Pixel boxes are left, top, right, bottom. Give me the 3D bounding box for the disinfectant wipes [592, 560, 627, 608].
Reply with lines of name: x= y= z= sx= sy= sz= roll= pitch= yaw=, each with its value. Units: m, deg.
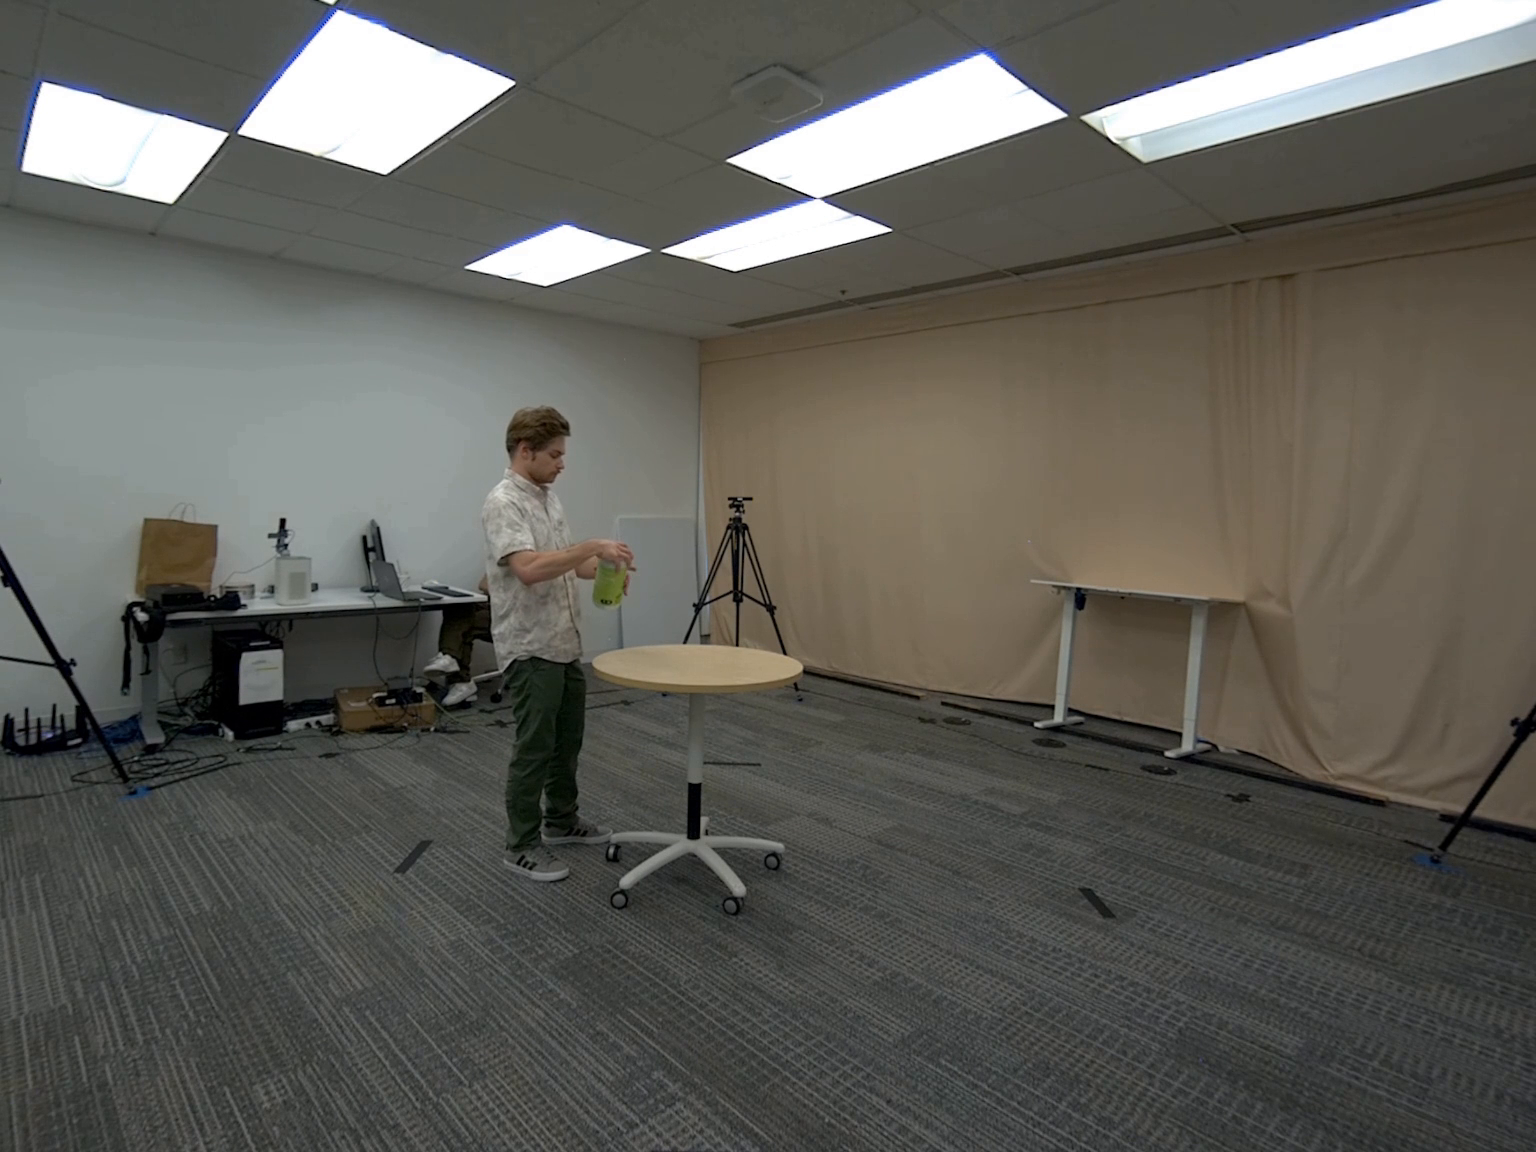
disinfectant wipes: x=-0.587 y=0.008 z=3.048 sx=0.117 sy=0.214 sz=0.120 roll=11 pitch=29 yaw=-7
